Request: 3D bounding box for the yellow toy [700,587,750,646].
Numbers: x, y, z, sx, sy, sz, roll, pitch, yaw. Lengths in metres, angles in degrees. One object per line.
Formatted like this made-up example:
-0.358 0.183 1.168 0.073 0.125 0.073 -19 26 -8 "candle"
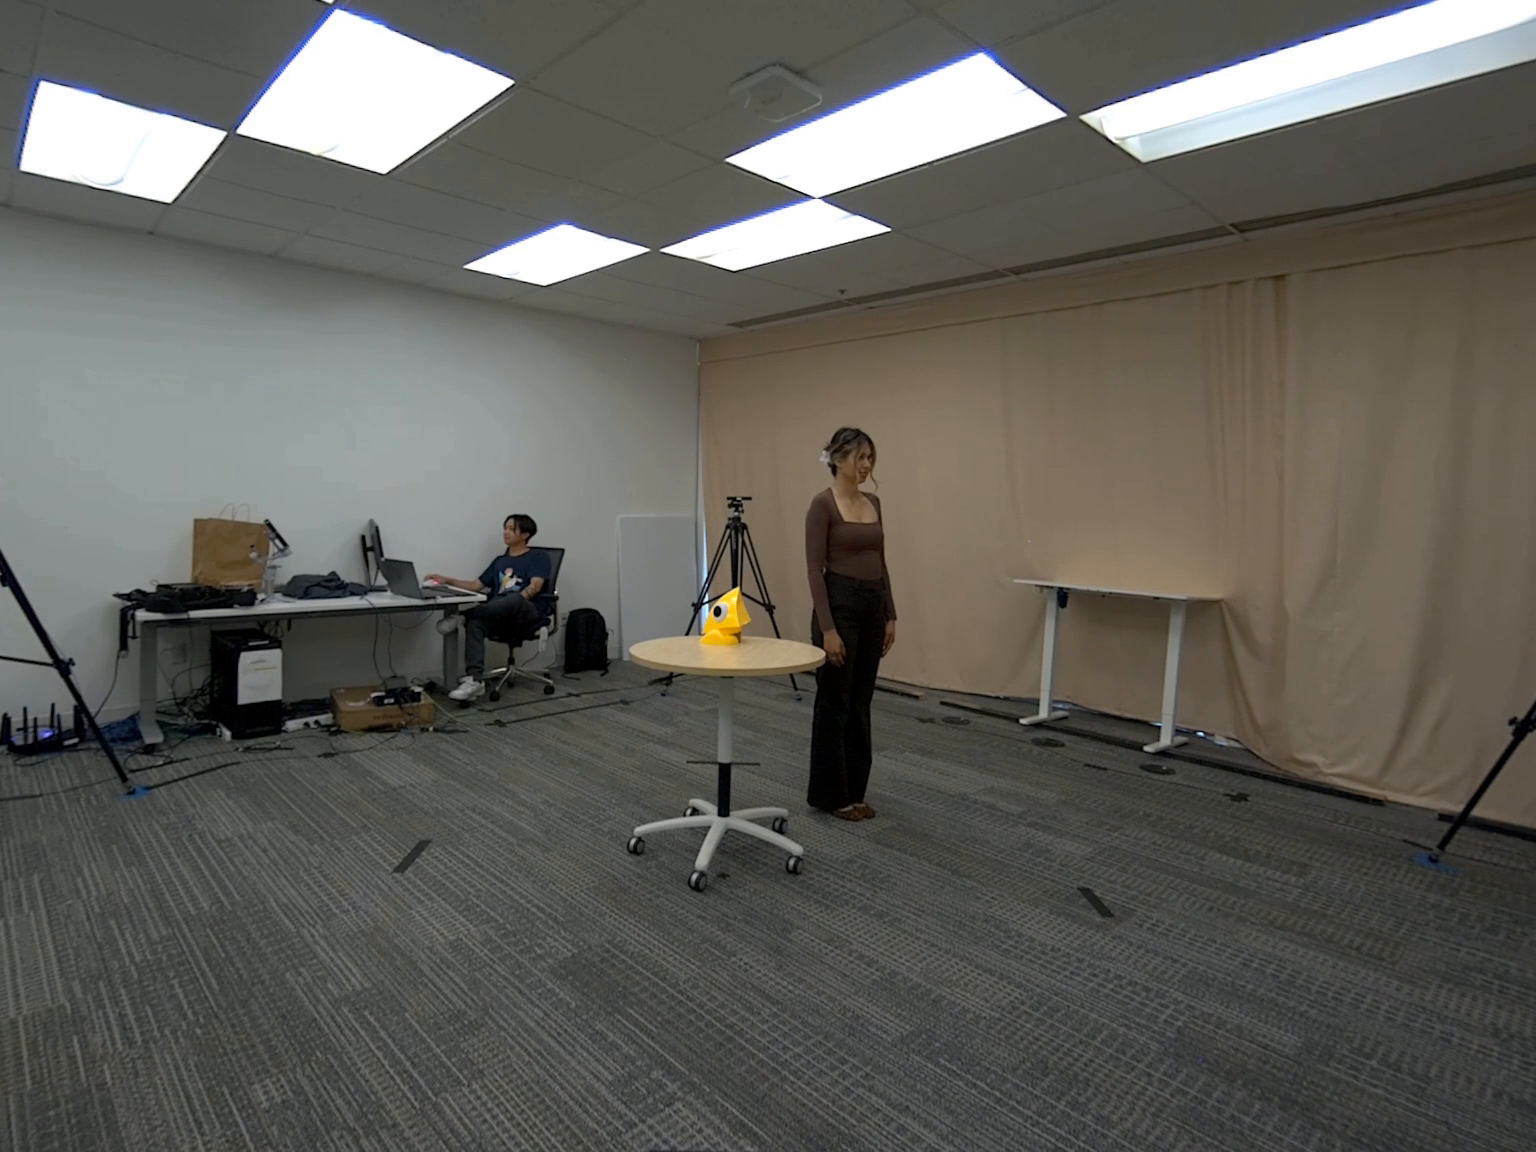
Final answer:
-0.189 0.160 3.522 0.195 0.230 0.203 2 4 13 "yellow toy"
